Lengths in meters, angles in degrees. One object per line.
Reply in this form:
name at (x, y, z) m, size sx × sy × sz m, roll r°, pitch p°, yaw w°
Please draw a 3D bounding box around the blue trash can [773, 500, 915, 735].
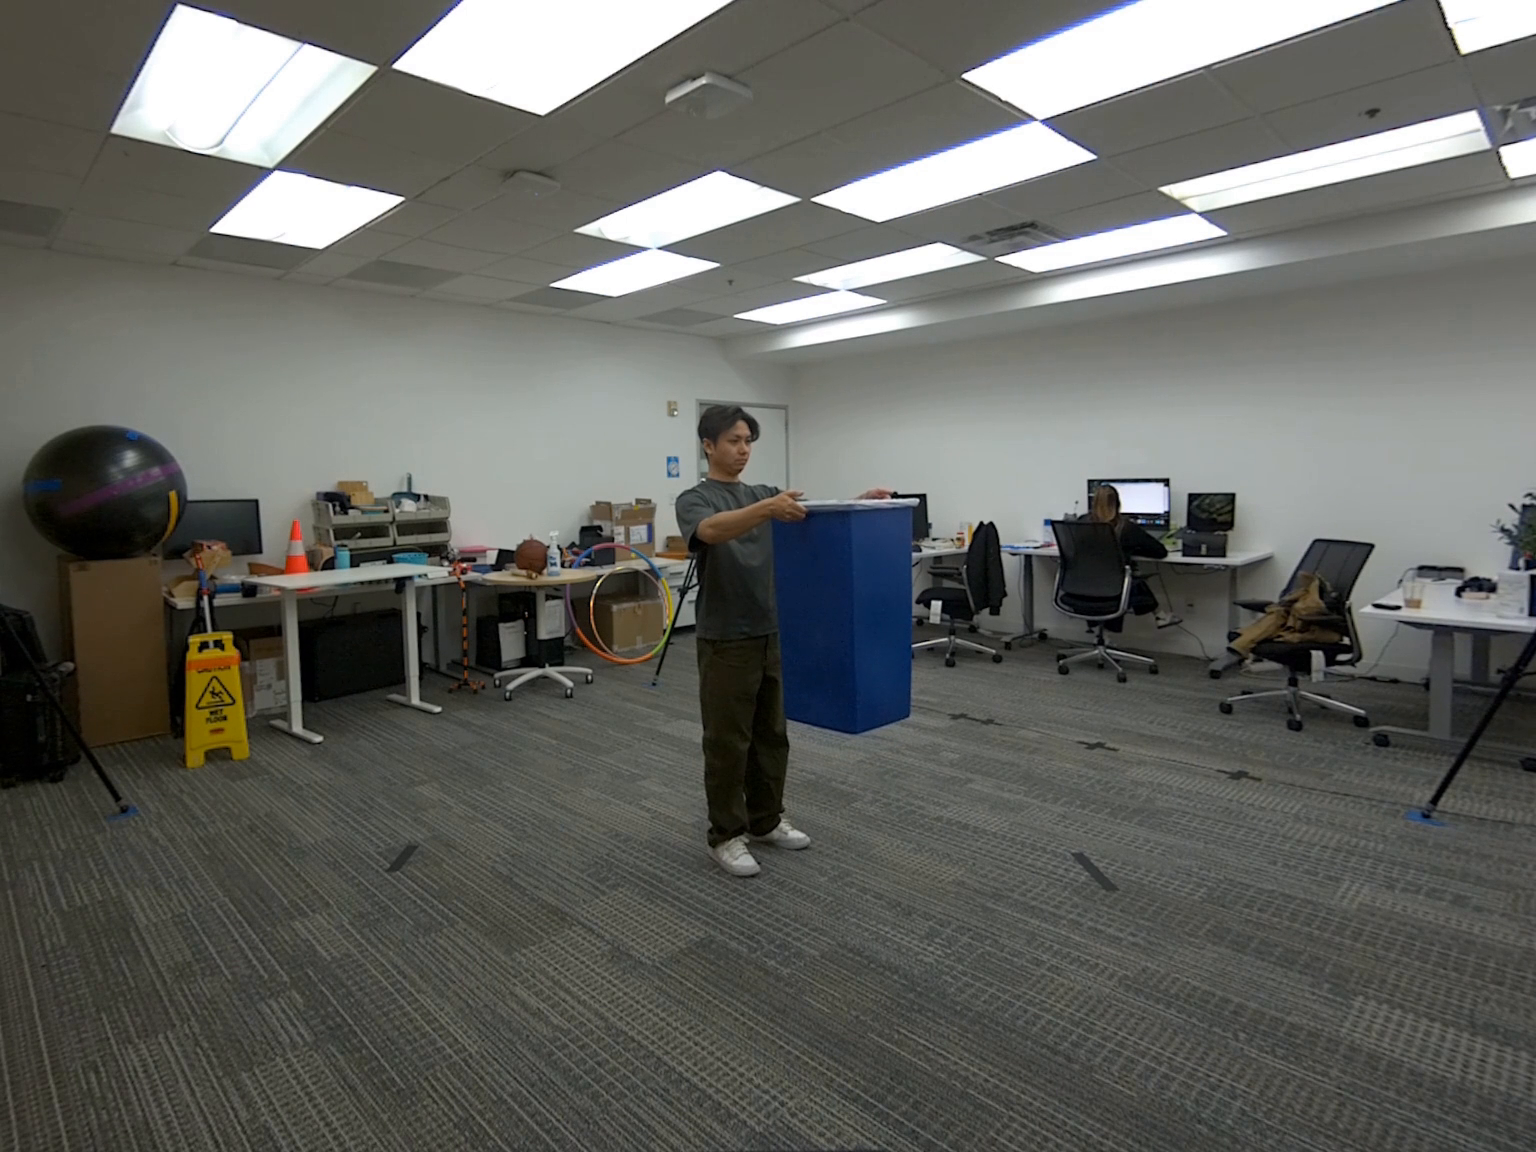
blue trash can at (0.262, 0.114, 2.794) m, size 0.385 × 0.712 × 0.368 m, roll 1°, pitch 4°, yaw 45°
